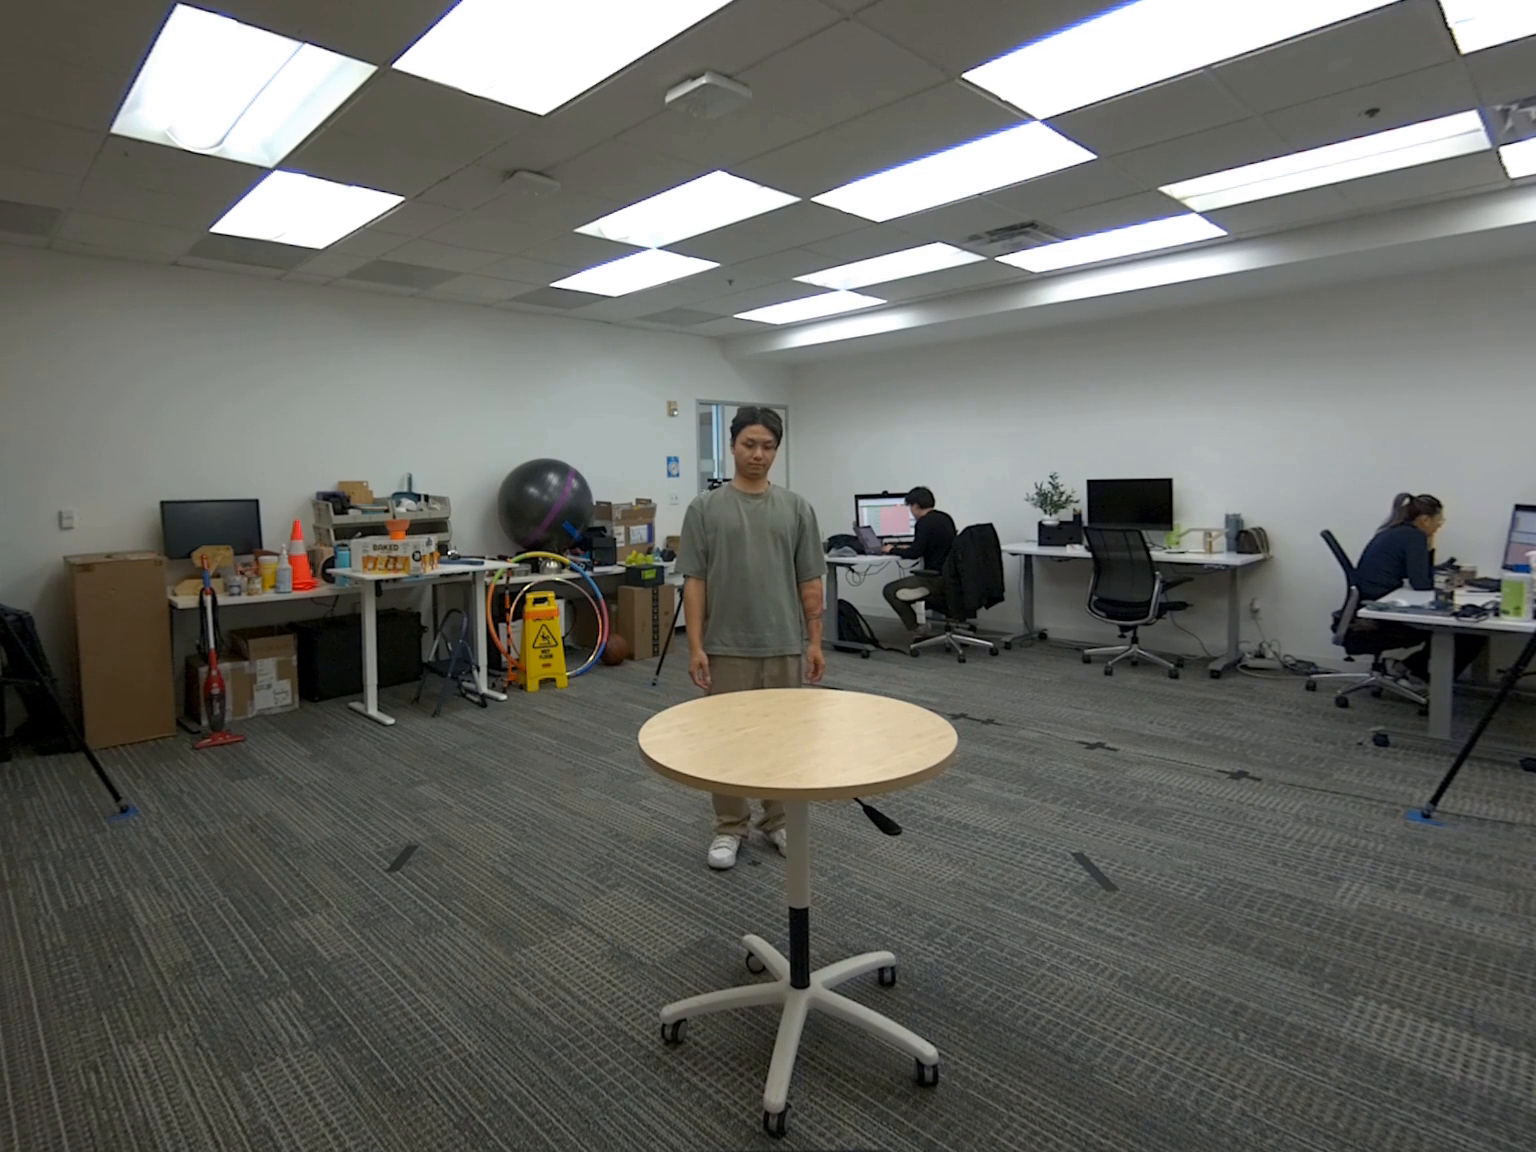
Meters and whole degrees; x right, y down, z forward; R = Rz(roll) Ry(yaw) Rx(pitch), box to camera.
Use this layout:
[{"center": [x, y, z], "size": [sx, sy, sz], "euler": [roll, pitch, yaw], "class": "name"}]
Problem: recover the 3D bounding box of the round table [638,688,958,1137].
[{"center": [0.068, 0.768, 2.115], "size": [0.784, 0.783, 0.789], "euler": [-1, 5, -2], "class": "round table"}]
